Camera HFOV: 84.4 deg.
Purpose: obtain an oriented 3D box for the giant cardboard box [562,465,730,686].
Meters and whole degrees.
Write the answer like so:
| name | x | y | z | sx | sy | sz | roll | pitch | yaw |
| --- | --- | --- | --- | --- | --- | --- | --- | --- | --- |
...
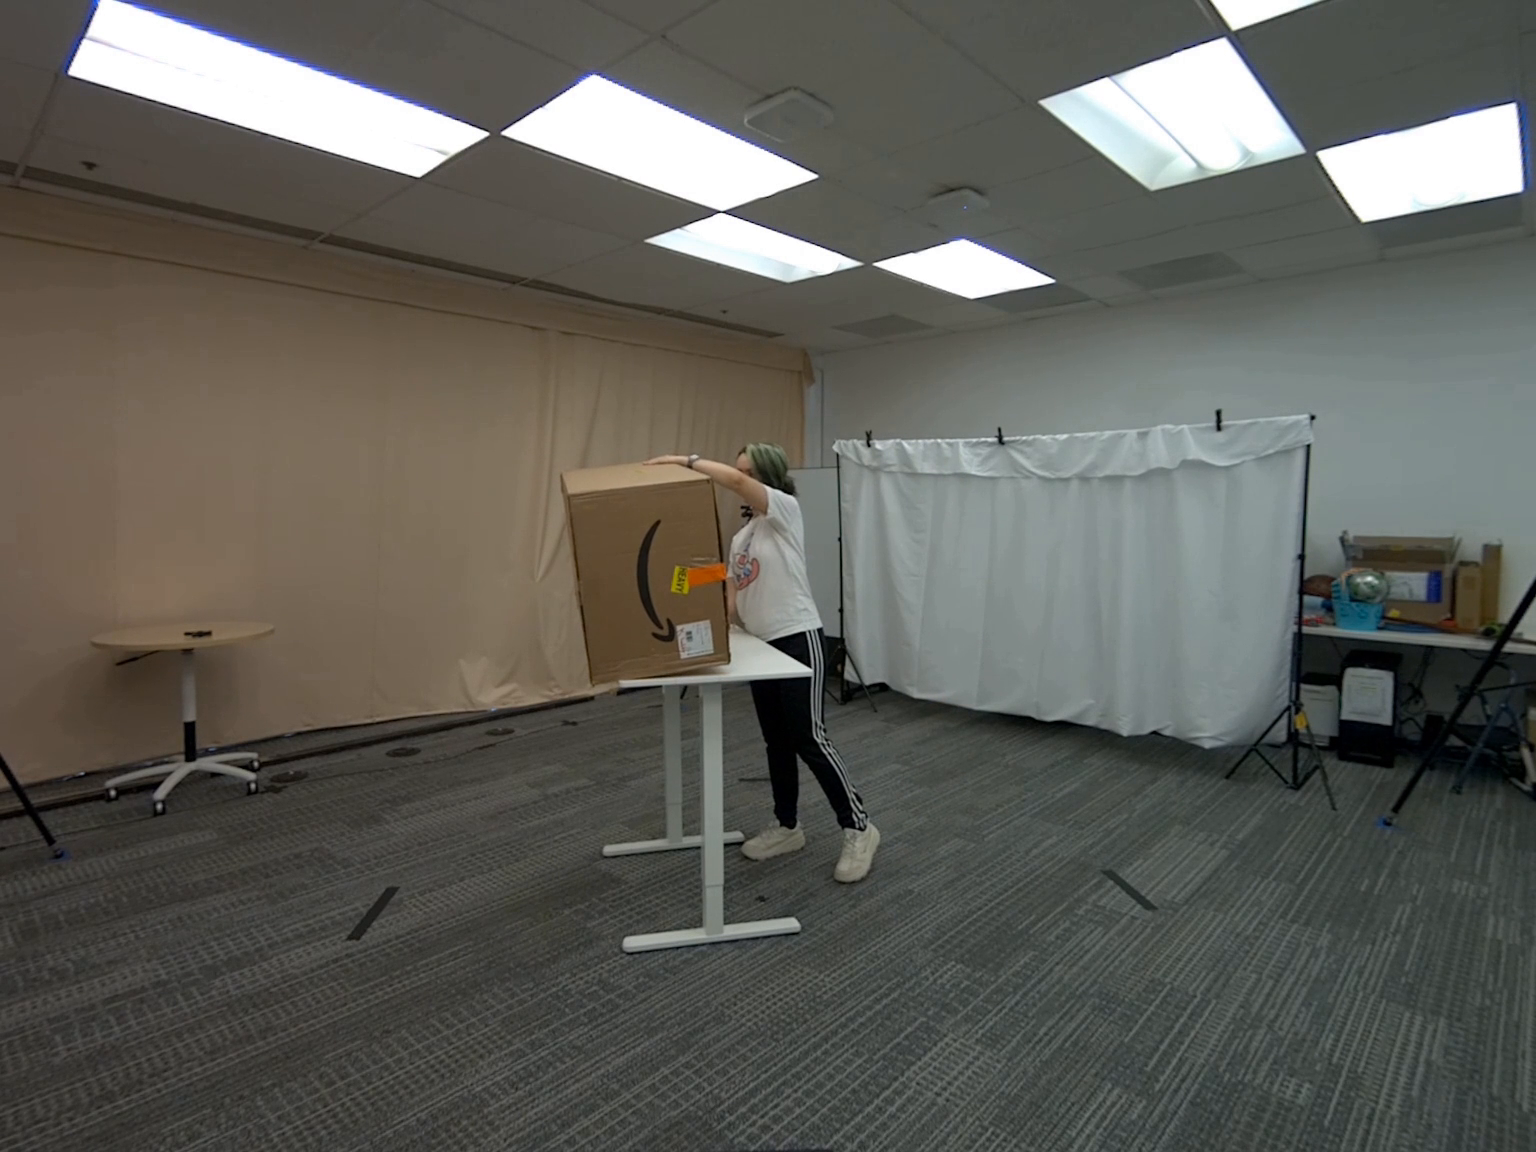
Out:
| name | x | y | z | sx | sy | sz | roll | pitch | yaw |
| --- | --- | --- | --- | --- | --- | --- | --- | --- | --- |
| giant cardboard box | -0.452 | -0.078 | 2.955 | 0.442 | 0.580 | 1.045 | -6 | 11 | -11 |
